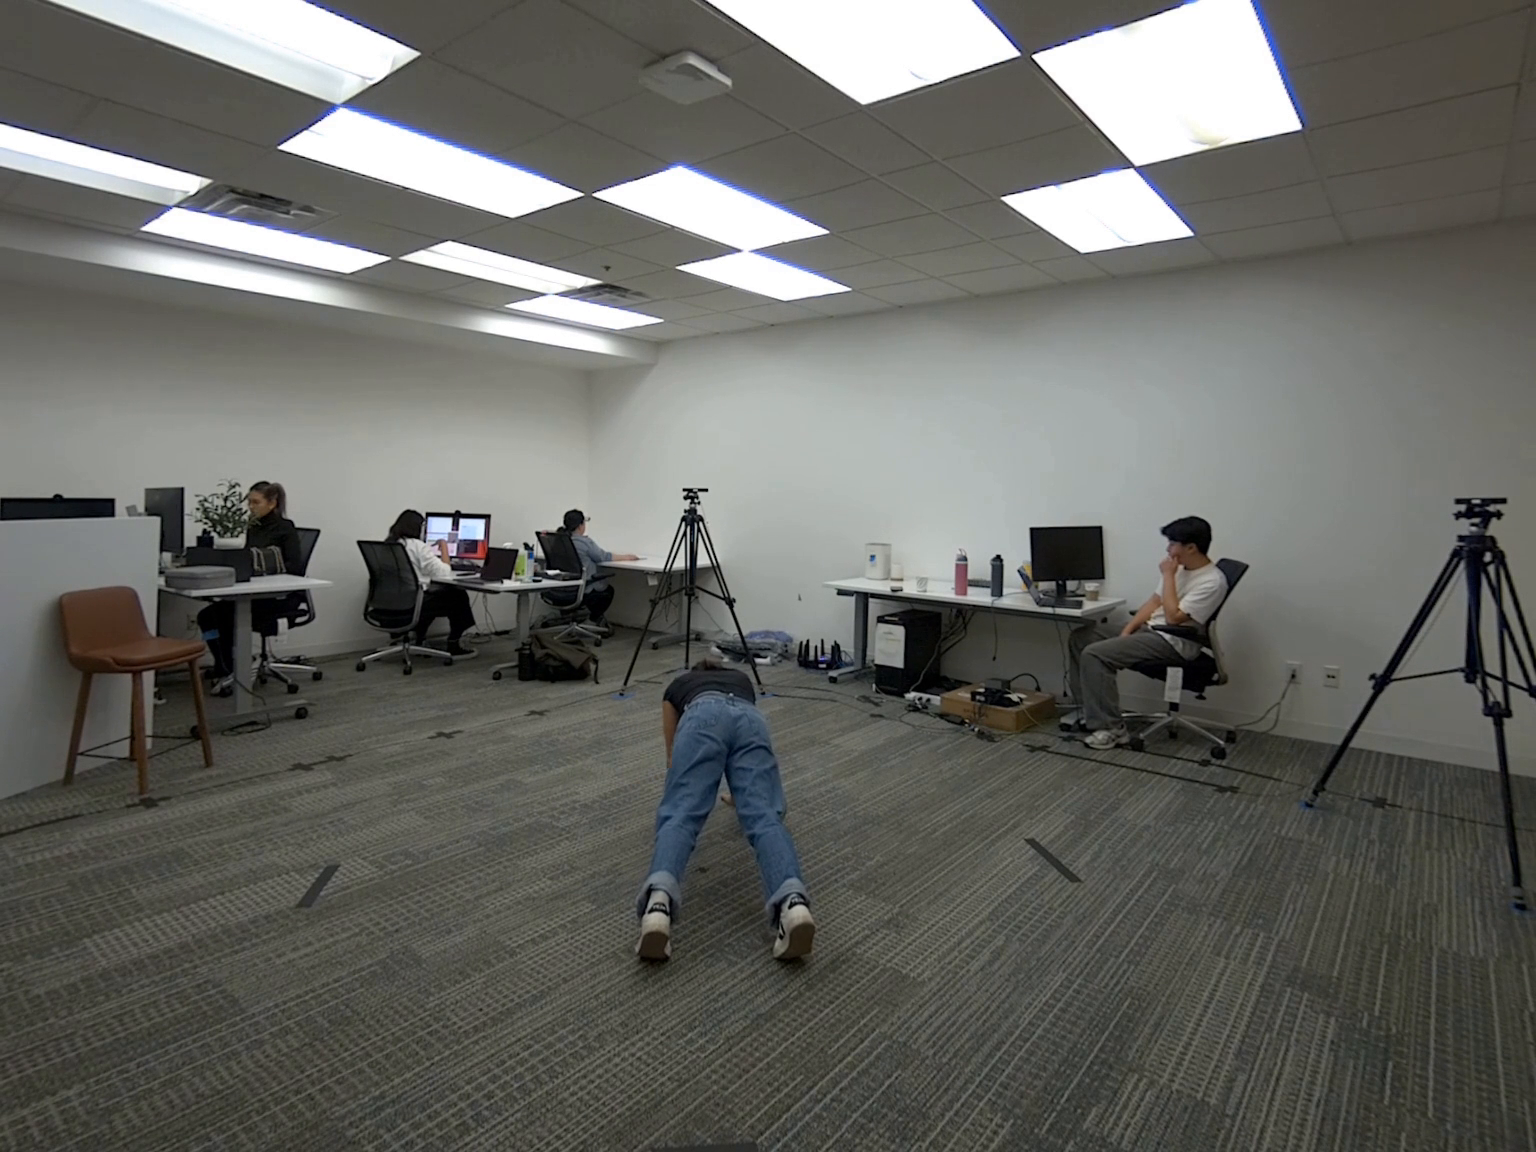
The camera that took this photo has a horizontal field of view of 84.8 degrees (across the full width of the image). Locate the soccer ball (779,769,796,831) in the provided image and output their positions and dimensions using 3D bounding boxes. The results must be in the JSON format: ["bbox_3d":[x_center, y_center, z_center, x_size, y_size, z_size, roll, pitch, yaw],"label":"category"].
[{"bbox_3d":[0.010,0.926,3.495,0.187,0.187,0.188,1,4,-2],"label":"soccer ball"}]
